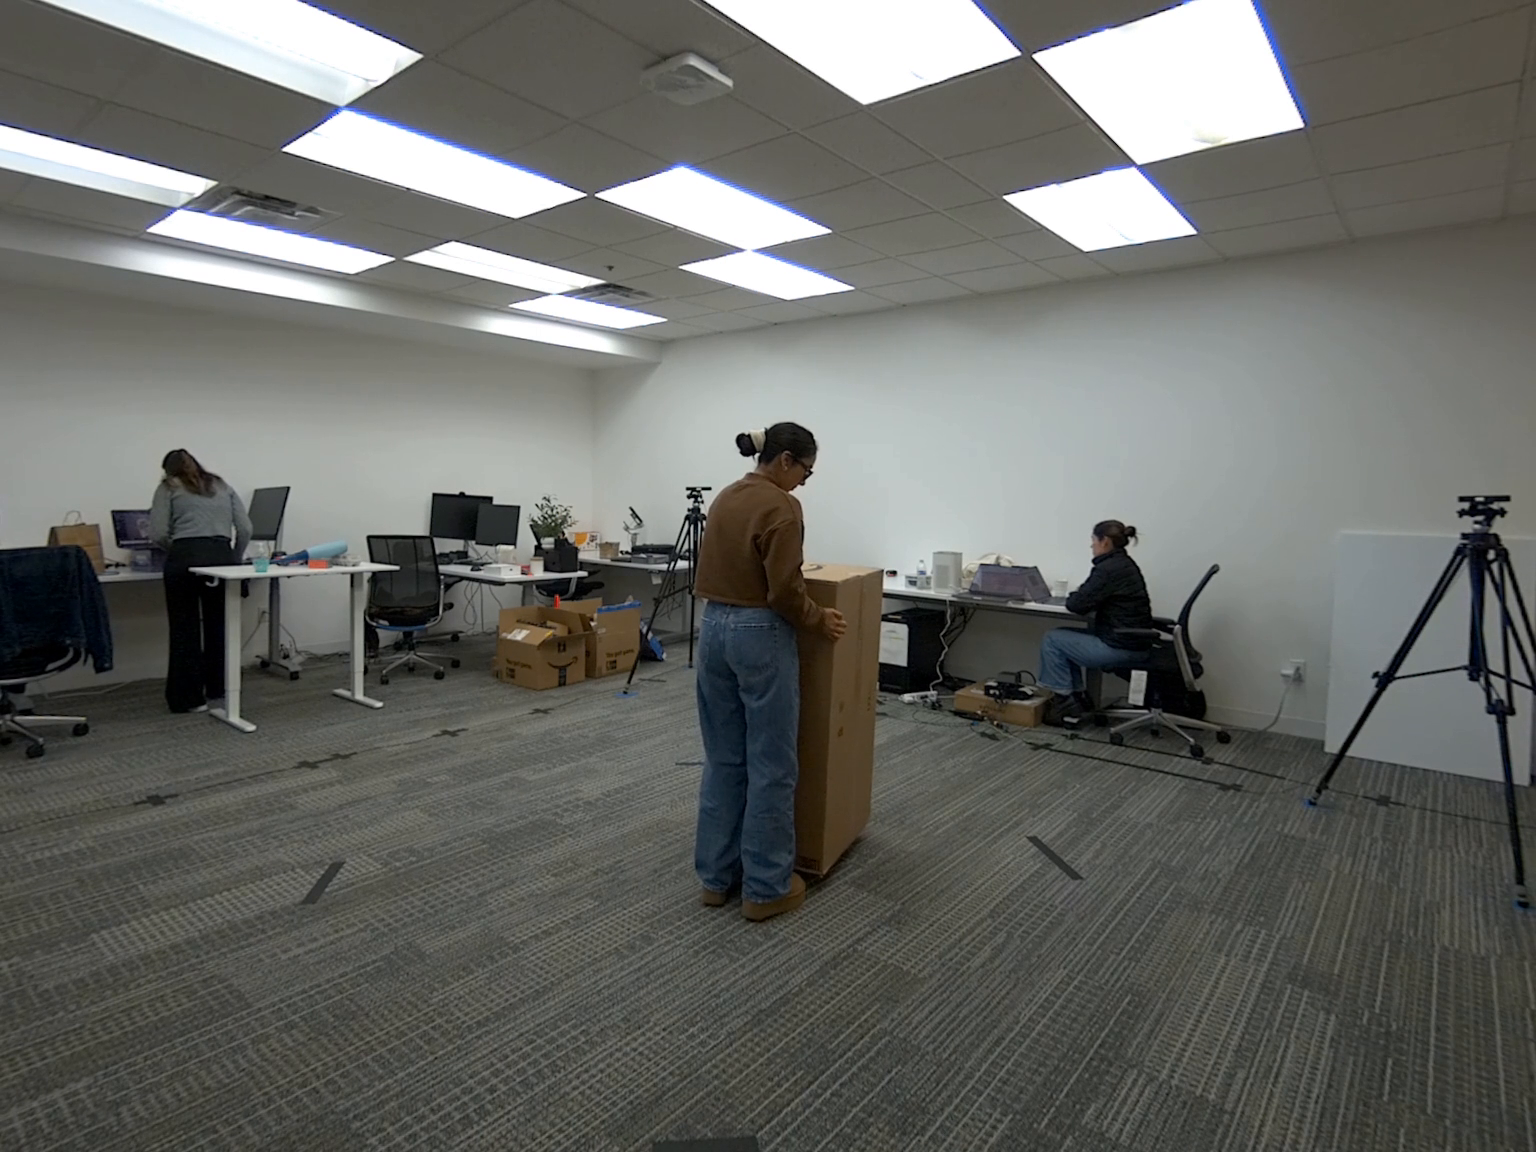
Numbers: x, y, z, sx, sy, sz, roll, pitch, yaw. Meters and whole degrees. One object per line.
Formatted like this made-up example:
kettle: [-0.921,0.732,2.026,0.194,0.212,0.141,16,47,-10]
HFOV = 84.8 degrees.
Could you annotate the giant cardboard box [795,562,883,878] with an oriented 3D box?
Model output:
giant cardboard box: [0.129,0.494,3.239,0.438,1.021,0.565,5,5,25]
